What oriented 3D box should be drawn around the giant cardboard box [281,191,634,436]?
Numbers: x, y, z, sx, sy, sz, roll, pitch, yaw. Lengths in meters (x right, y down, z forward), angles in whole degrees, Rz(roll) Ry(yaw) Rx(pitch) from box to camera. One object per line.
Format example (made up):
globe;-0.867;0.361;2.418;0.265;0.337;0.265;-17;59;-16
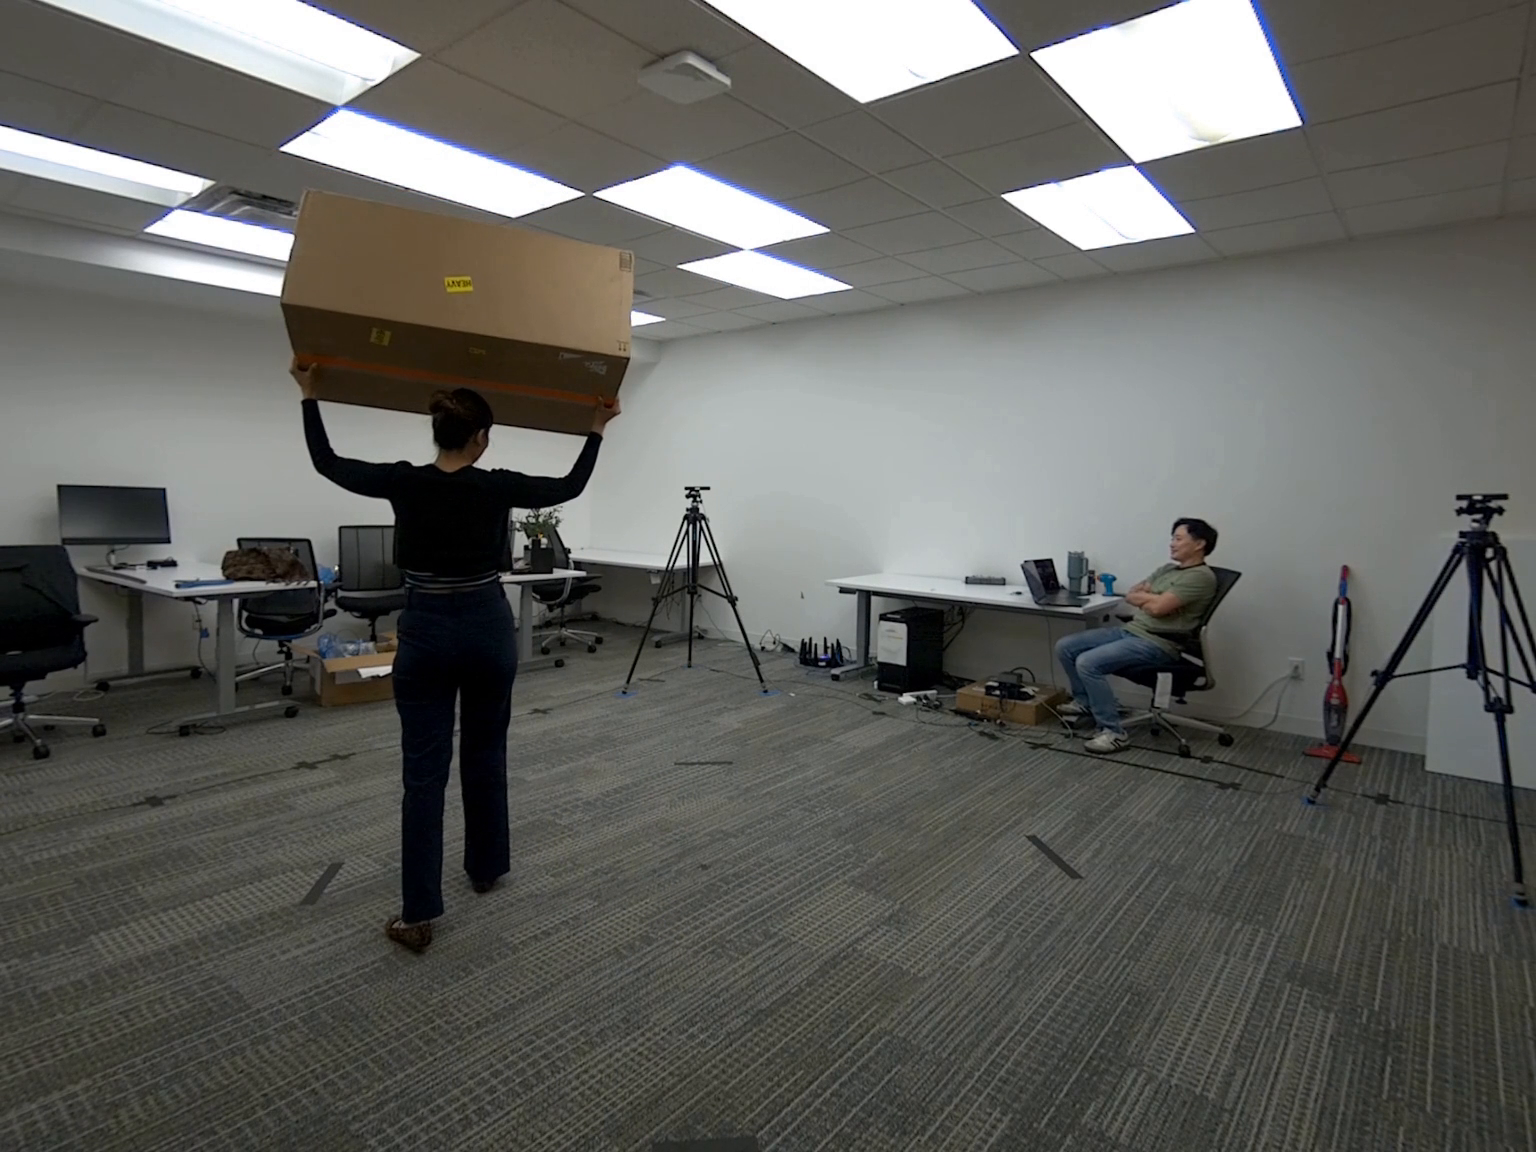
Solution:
giant cardboard box;-1.025;-0.843;2.885;1.007;0.434;0.577;6;-20;-16
